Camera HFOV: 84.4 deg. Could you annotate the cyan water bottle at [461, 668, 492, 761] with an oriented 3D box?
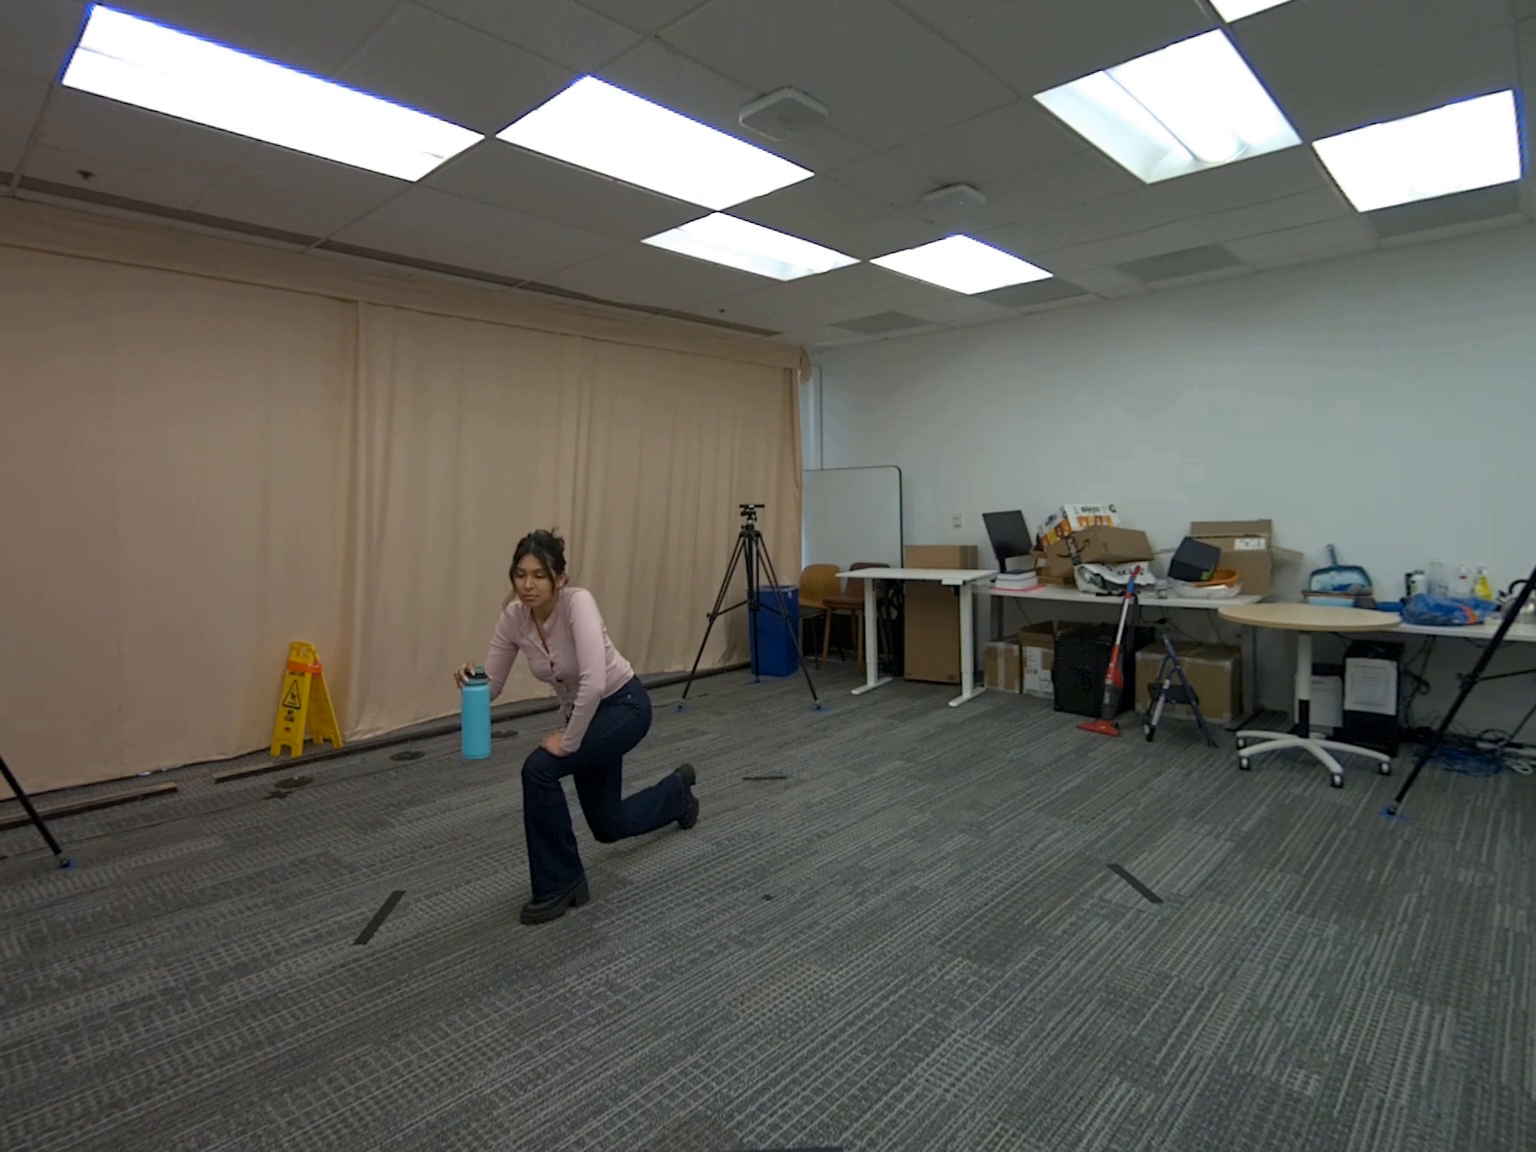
[{"bbox_3d":[-0.920,0.421,2.687,0.092,0.283,0.092,-3,3,-2],"label":"cyan water bottle"}]
